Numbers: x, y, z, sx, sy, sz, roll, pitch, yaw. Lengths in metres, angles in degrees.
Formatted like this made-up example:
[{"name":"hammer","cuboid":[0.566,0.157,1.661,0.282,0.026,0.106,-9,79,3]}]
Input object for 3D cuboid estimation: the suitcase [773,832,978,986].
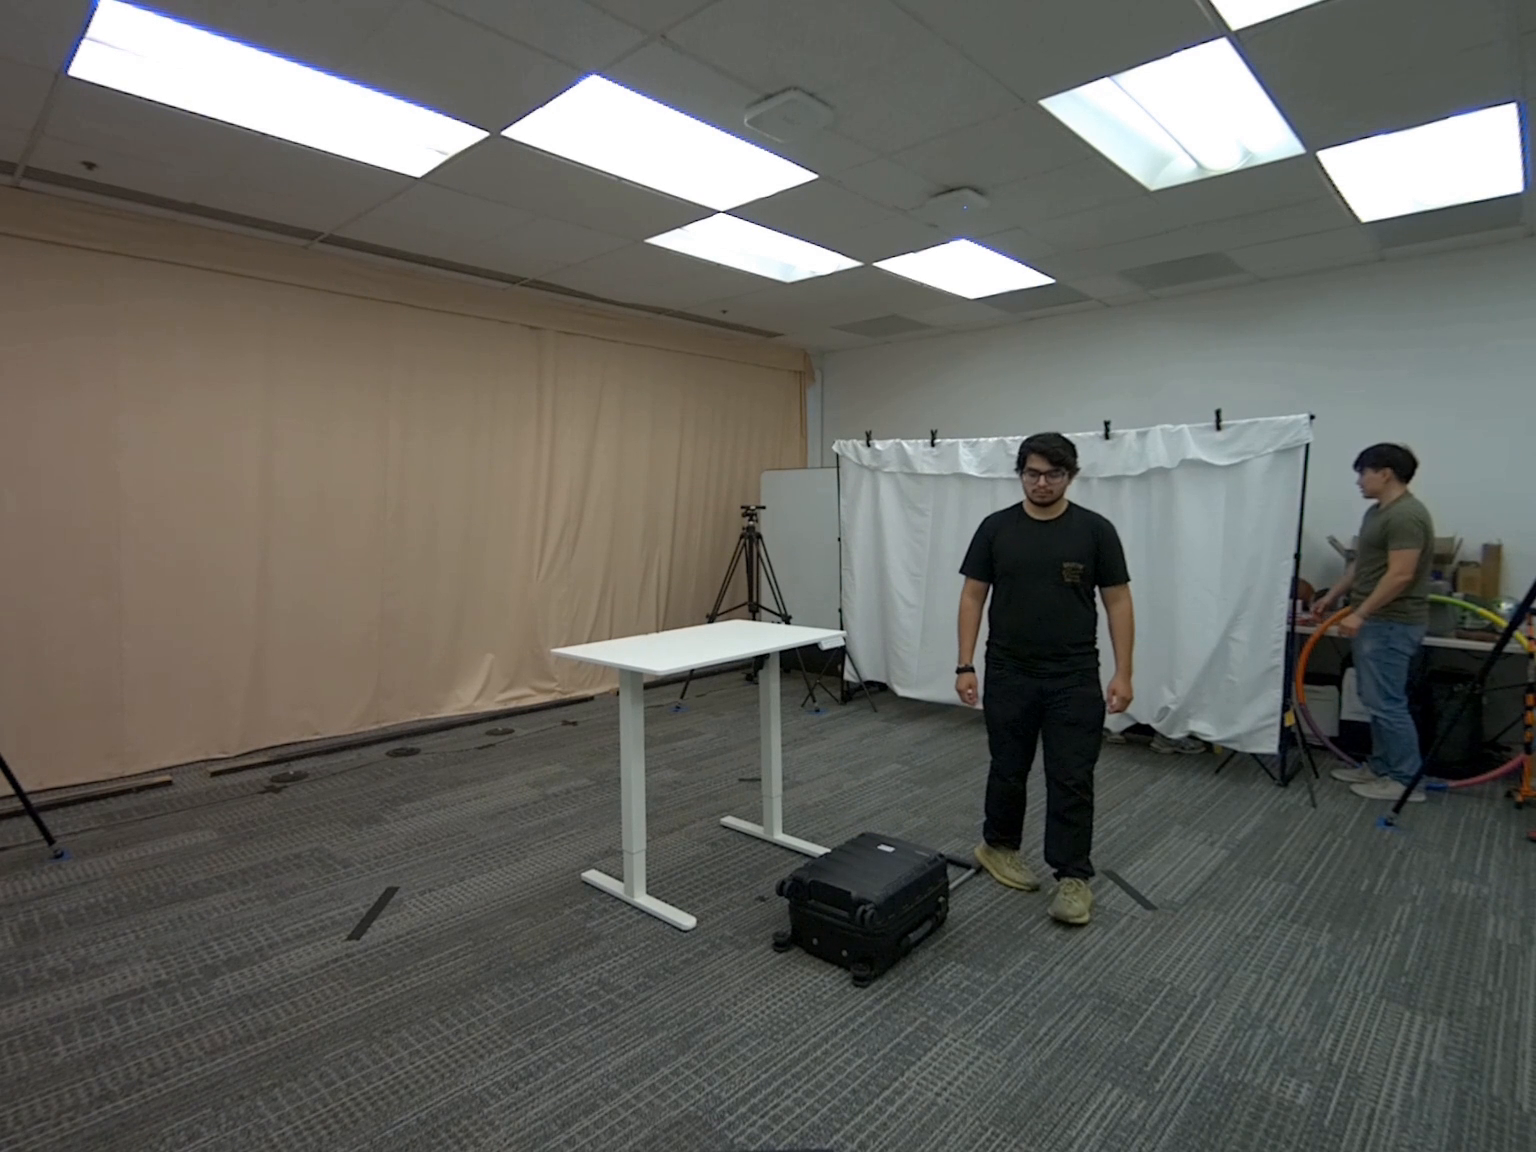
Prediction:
[{"name":"suitcase","cuboid":[0.459,1.023,2.870,0.396,0.256,0.950,2,7,40]}]
